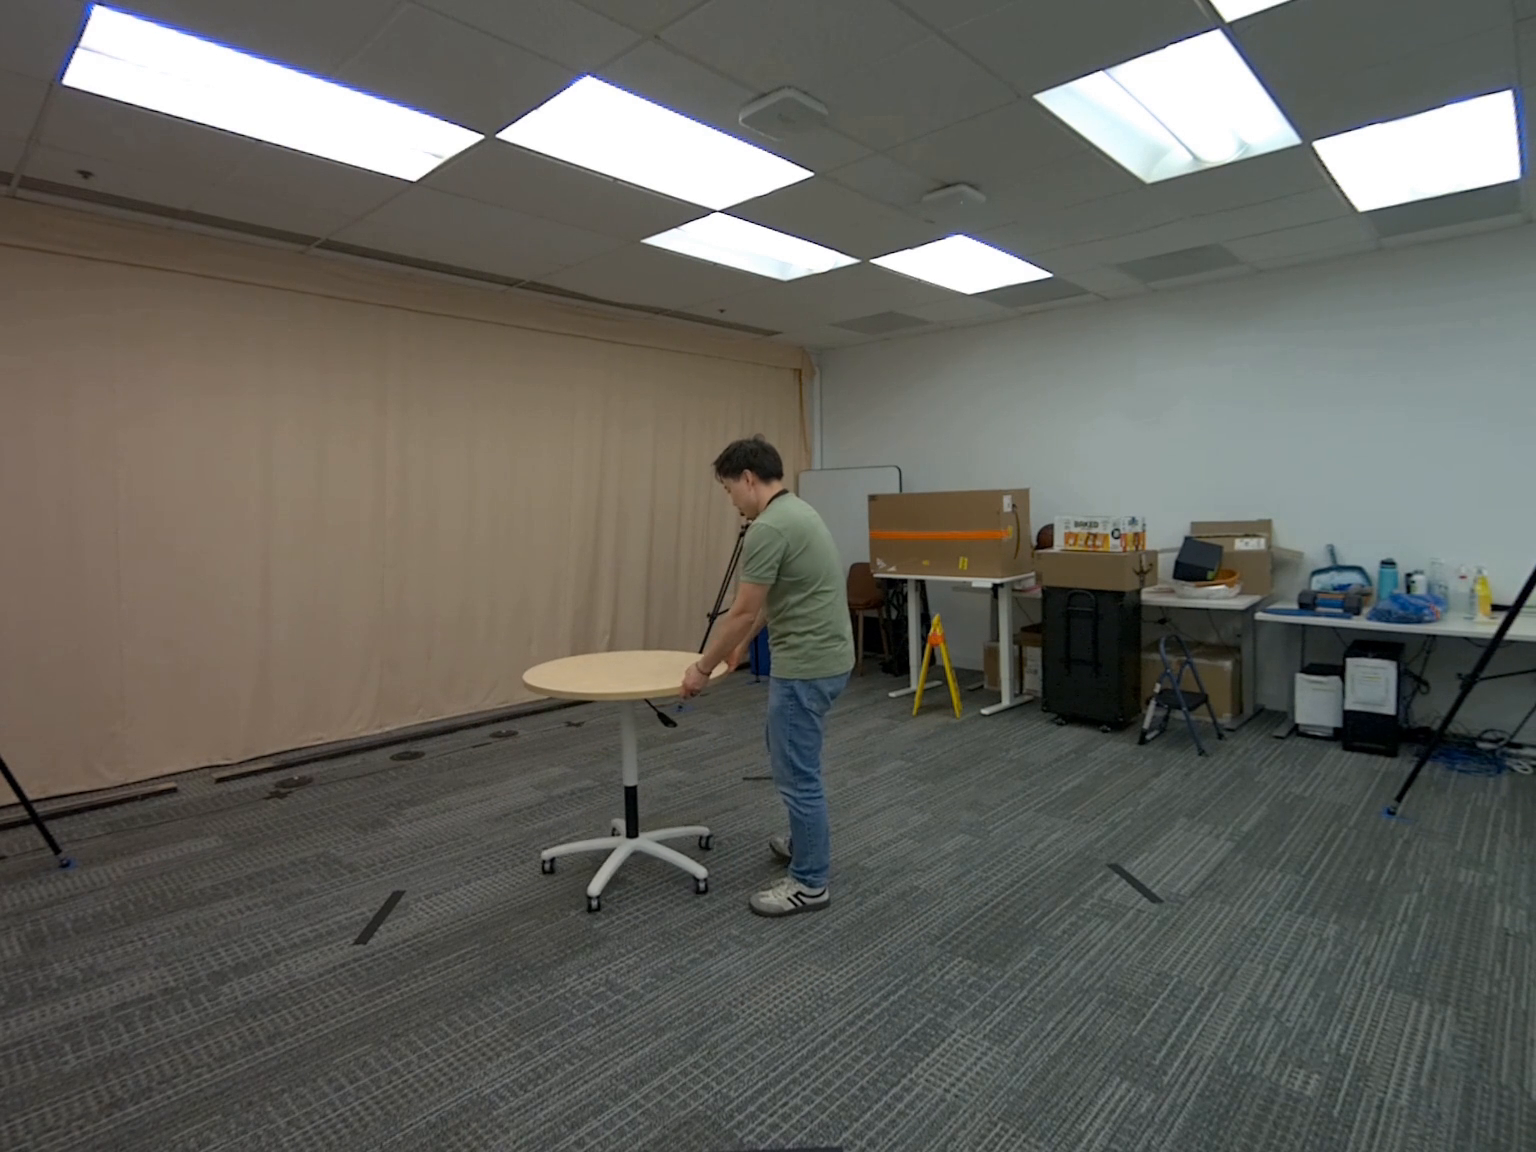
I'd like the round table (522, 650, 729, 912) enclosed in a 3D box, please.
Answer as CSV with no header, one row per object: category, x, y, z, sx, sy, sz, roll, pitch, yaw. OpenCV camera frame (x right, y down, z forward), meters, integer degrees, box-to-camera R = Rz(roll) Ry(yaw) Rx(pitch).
round table,-0.512,0.746,3.193,0.763,0.792,0.767,-2,4,-2
